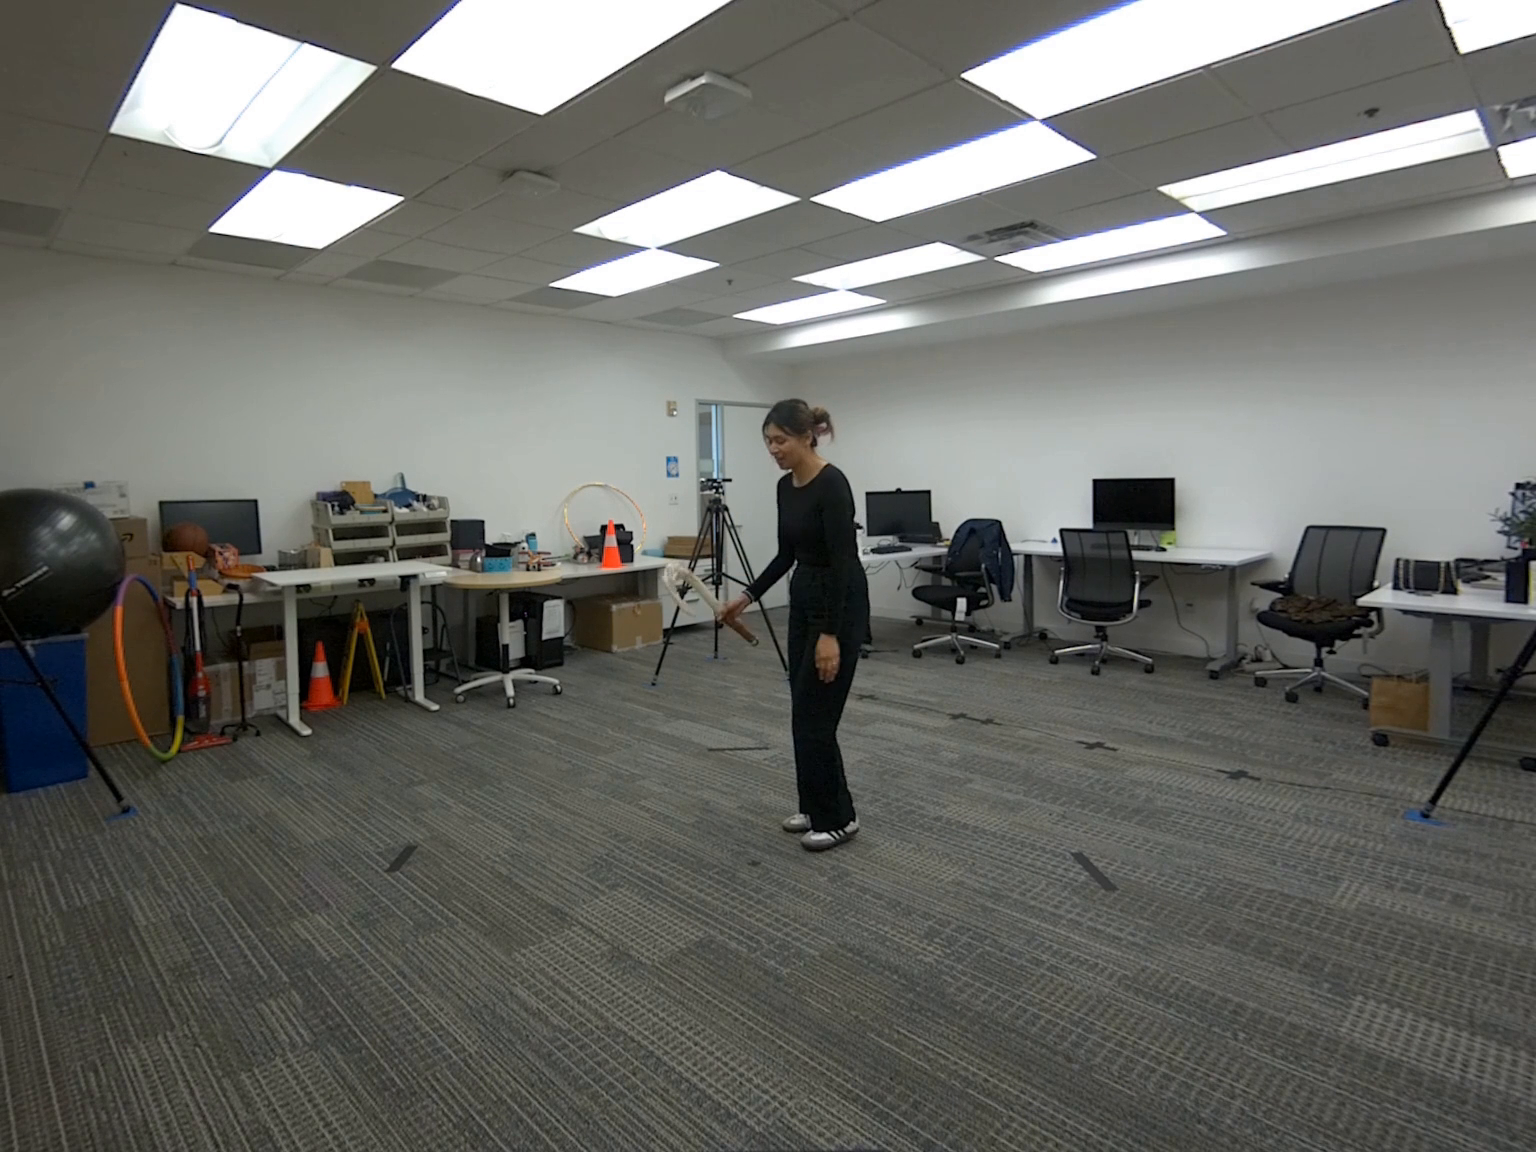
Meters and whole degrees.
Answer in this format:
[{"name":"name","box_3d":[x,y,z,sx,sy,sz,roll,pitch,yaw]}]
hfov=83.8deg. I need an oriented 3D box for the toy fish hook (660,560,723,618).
[{"name":"toy fish hook","box_3d":[-0.223,0.144,3.359,0.048,0.496,0.228,-37,18,32]}]
